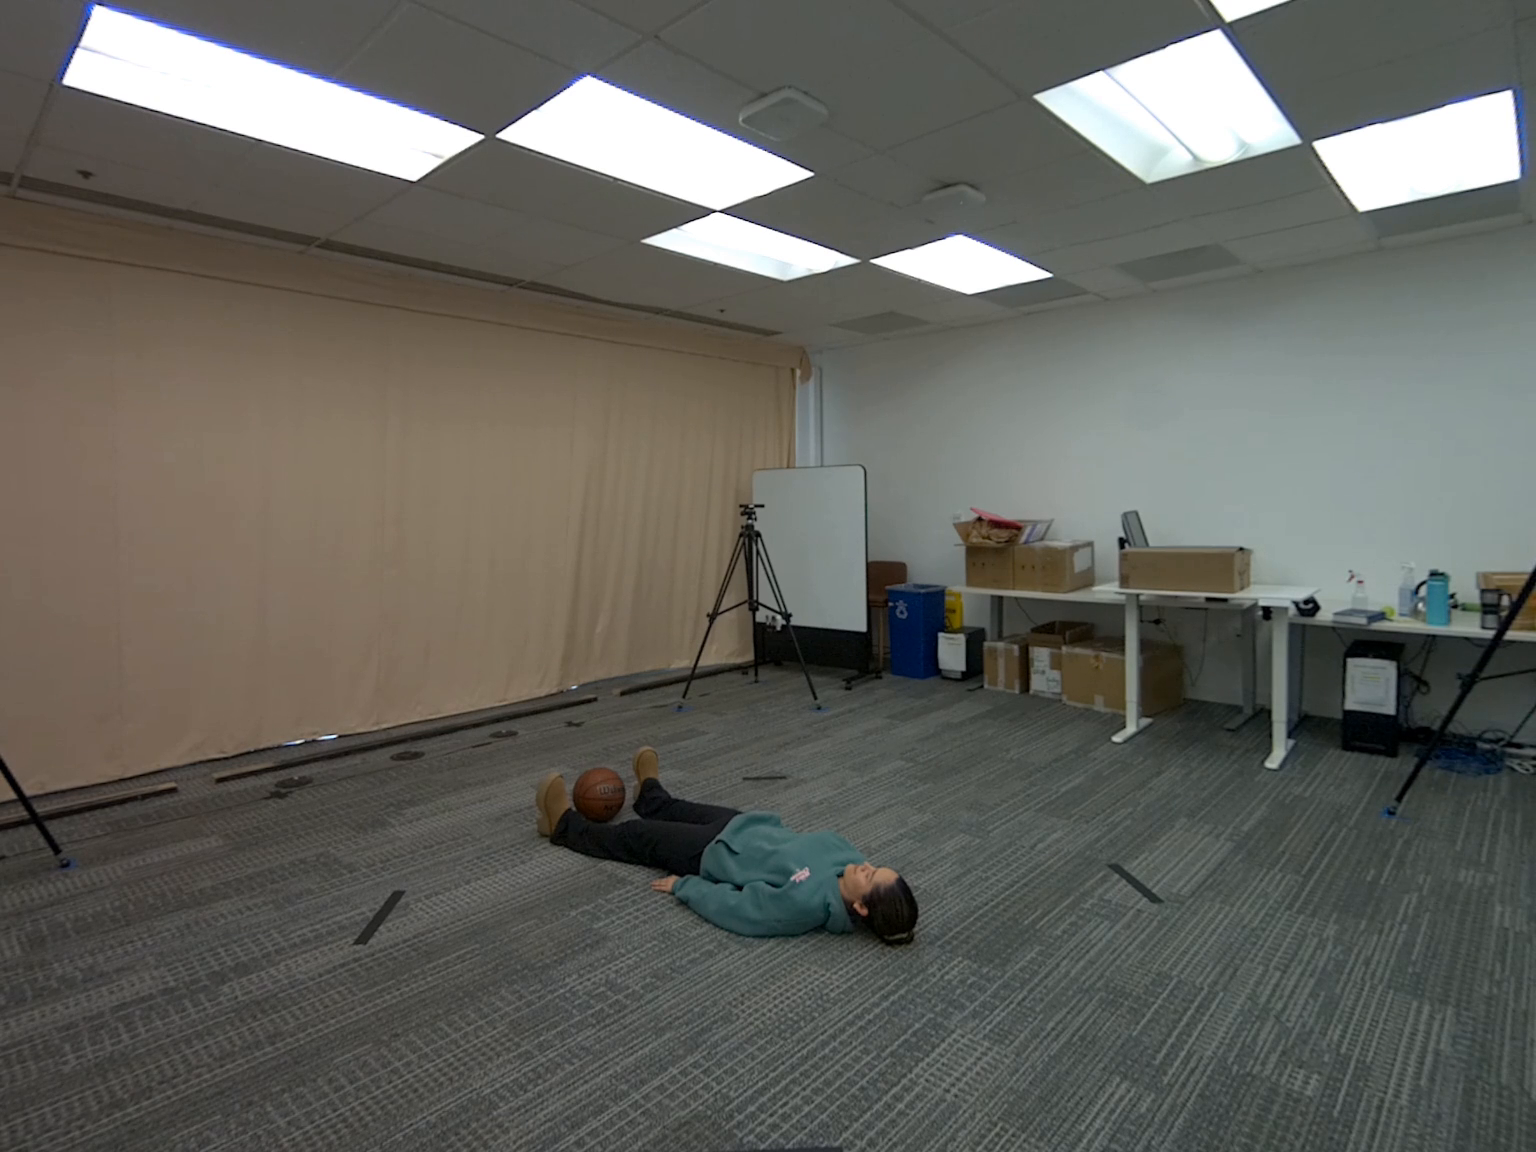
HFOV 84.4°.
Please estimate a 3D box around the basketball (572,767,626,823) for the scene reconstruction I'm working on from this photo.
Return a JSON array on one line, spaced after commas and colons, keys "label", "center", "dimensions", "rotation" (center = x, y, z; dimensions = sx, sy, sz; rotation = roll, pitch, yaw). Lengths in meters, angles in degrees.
[{"label": "basketball", "center": [-0.752, 0.975, 3.750], "dimensions": [0.236, 0.235, 0.237], "rotation": [0, 4, -2]}]
